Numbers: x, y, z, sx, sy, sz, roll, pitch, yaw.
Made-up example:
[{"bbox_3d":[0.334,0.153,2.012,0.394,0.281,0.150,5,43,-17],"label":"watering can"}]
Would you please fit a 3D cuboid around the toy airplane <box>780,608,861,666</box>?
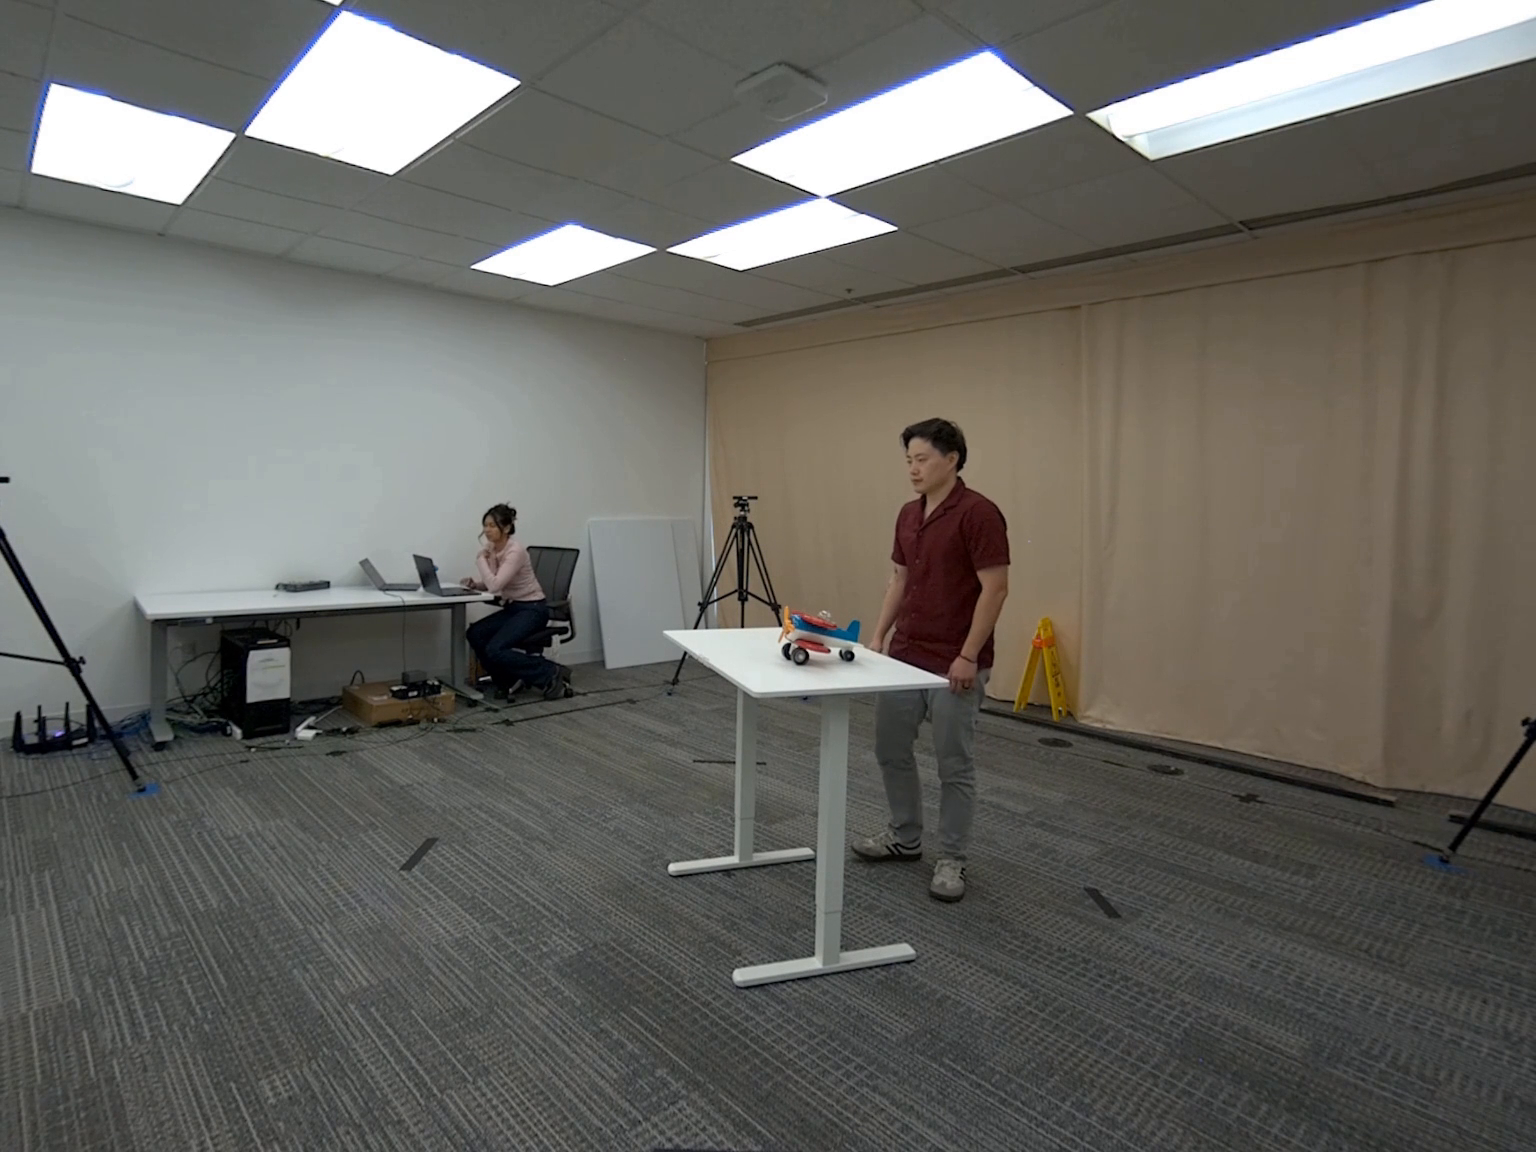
[{"bbox_3d":[0.152,0.192,2.667,0.257,0.156,0.253,7,7,44],"label":"toy airplane"}]
